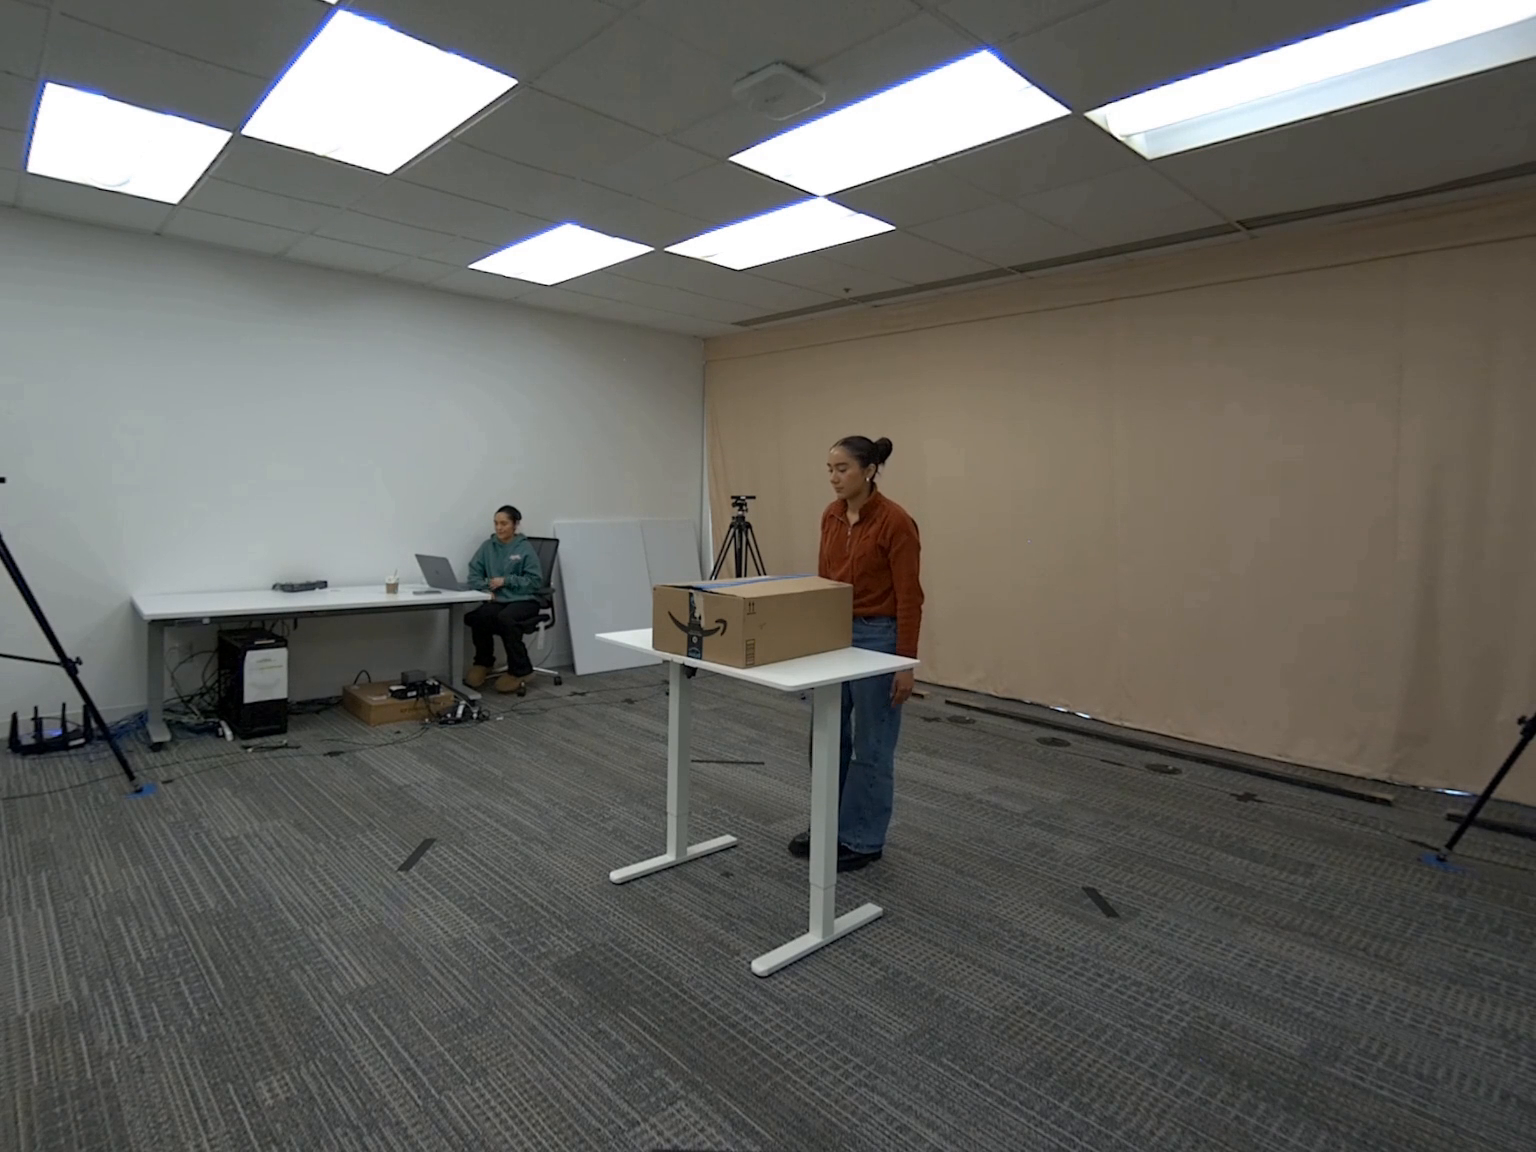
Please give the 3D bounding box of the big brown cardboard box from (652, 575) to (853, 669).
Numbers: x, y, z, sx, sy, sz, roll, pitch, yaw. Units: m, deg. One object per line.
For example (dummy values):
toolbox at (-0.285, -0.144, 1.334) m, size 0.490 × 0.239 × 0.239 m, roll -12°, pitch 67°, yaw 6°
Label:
big brown cardboard box at (-0.045, 0.137, 2.845) m, size 0.428 × 0.232 × 0.576 m, roll 6°, pitch 8°, yaw 41°
